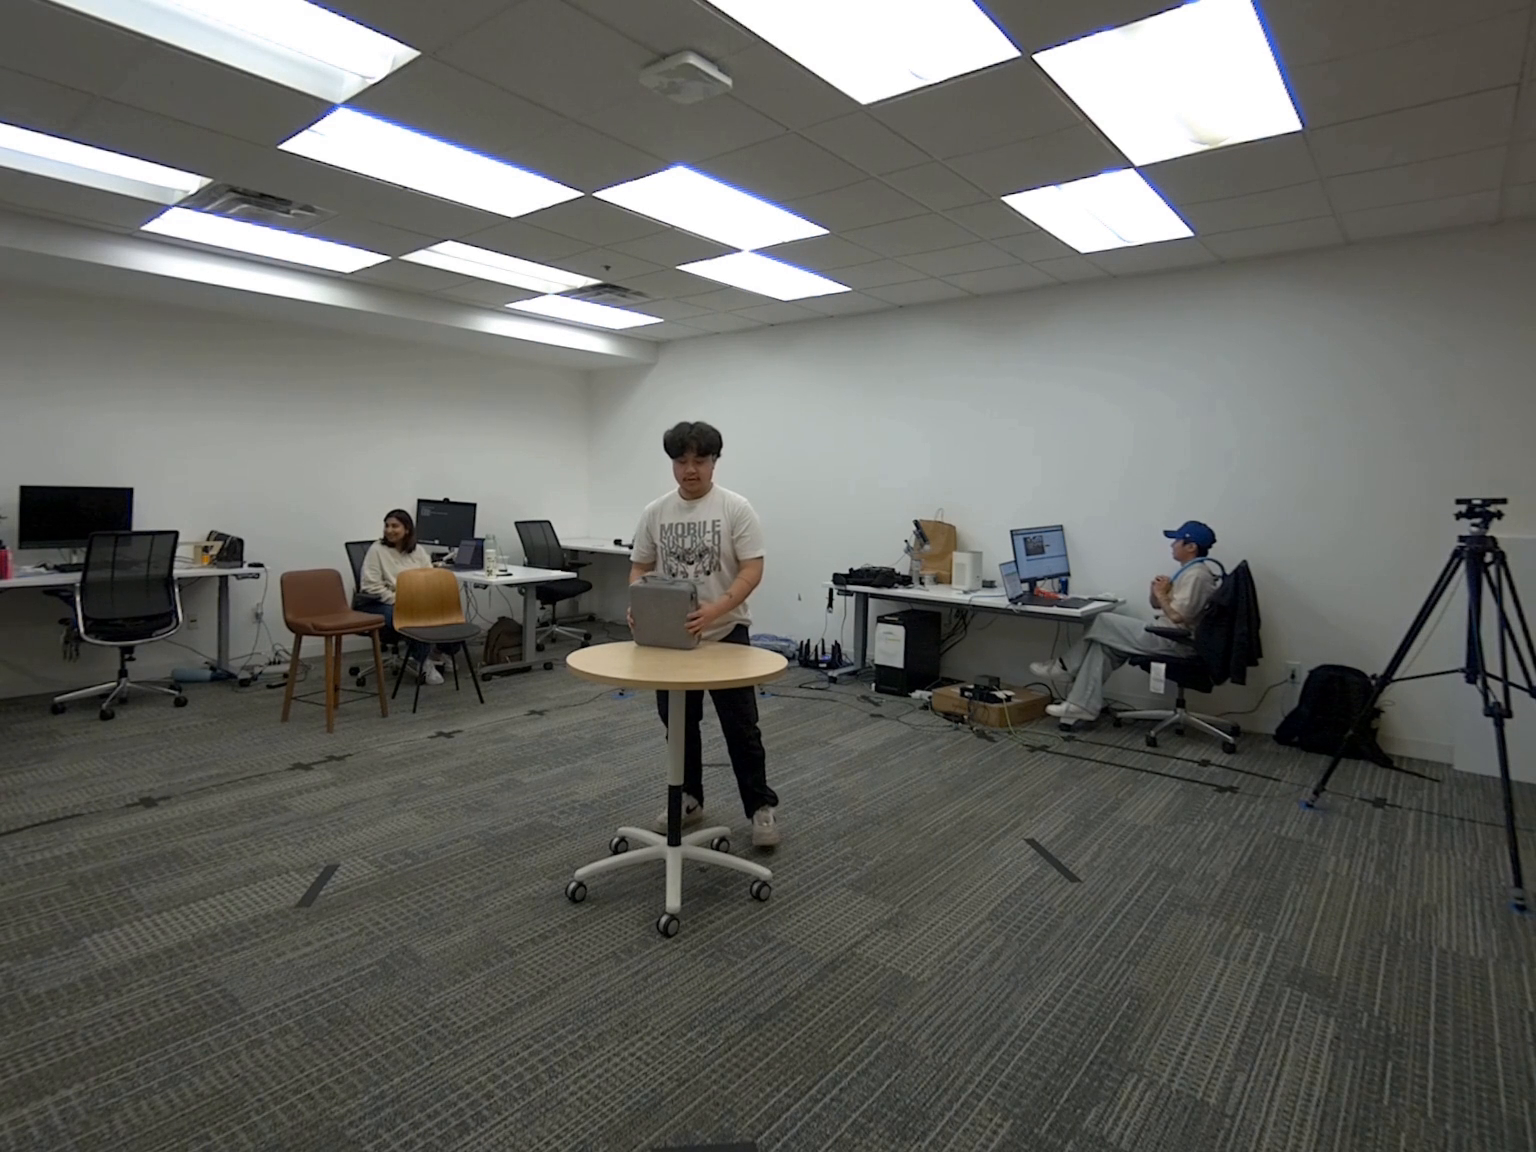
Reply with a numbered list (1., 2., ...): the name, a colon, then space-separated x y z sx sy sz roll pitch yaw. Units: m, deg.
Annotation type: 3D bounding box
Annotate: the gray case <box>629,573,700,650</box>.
1. gray case: -0.393 0.132 3.170 0.263 0.257 0.103 2 15 24
